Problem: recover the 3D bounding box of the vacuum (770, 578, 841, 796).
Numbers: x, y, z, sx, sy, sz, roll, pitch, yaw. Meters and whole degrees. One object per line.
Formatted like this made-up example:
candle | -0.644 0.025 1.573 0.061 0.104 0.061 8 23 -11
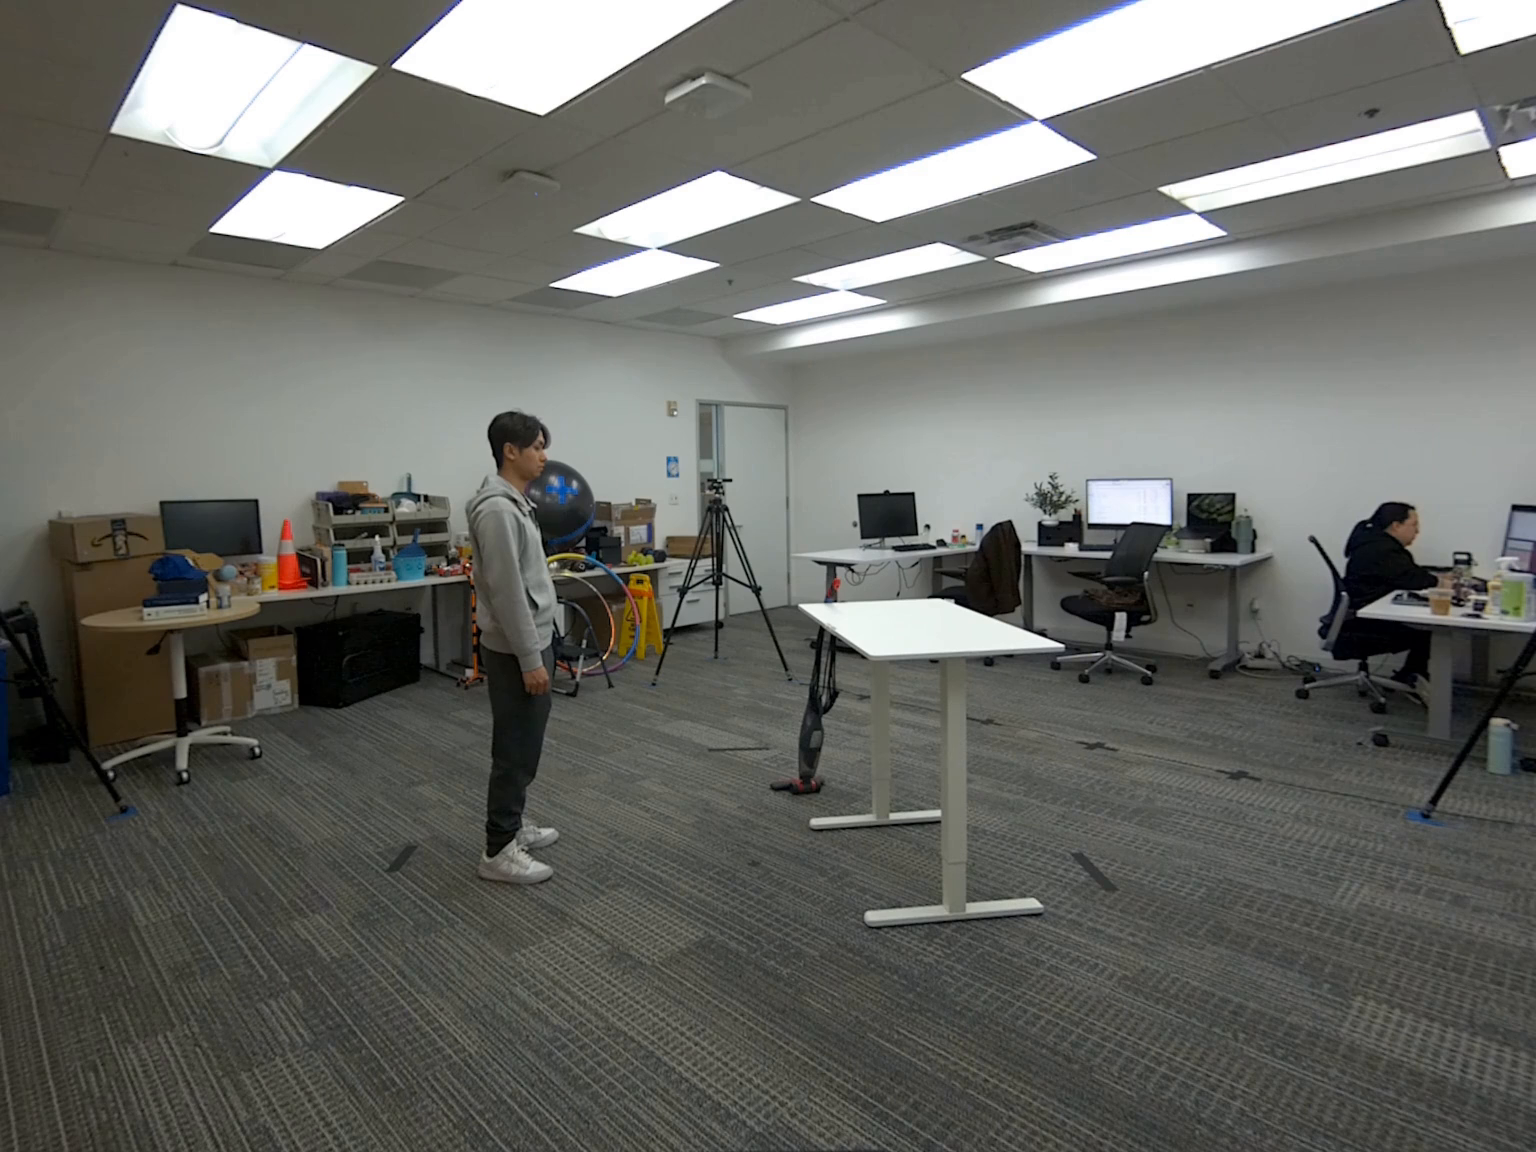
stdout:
vacuum | 0.212 0.494 3.637 0.248 1.031 0.149 -3 26 -23
